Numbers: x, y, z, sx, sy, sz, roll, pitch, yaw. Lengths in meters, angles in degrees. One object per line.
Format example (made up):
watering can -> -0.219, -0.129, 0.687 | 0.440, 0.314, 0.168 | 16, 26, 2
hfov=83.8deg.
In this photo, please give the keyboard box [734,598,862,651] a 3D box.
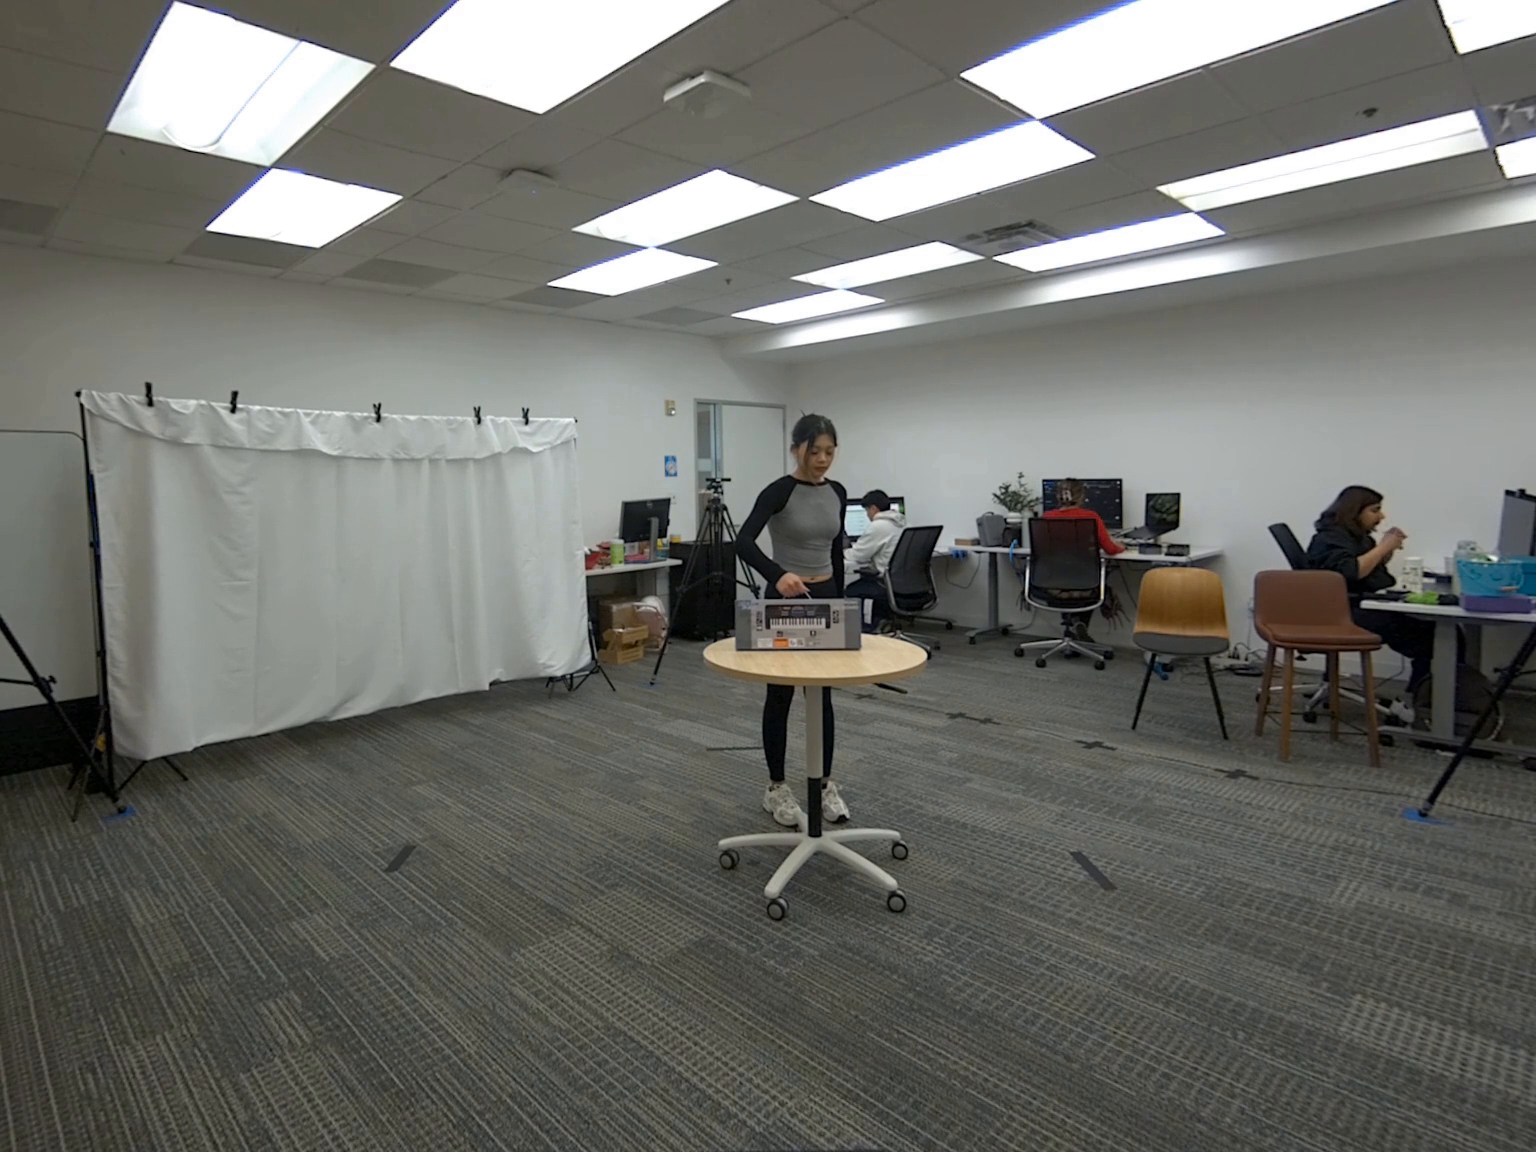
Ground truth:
keyboard box -> 0.103, 0.162, 3.001 | 0.437, 0.176, 0.059 | 0, 0, 1
